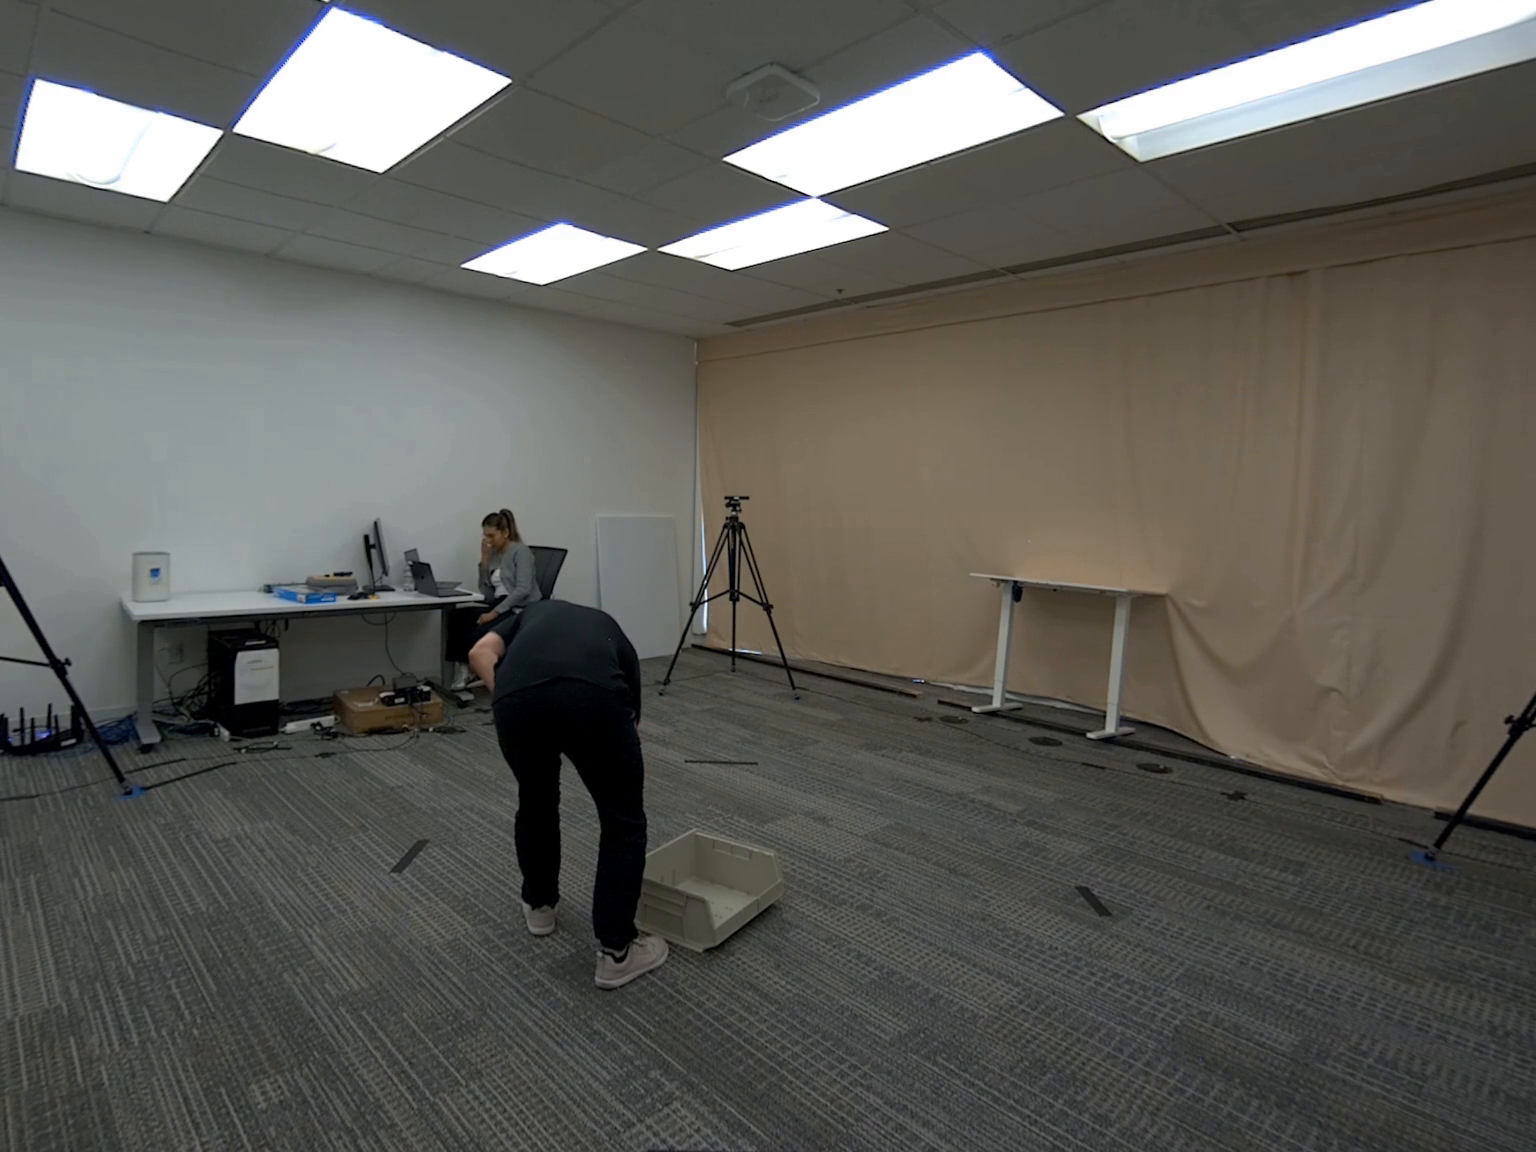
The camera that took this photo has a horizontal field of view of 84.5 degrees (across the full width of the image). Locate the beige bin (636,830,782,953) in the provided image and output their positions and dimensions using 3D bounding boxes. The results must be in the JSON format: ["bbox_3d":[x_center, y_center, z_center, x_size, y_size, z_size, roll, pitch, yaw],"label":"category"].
[{"bbox_3d":[-0.218,1.043,2.805,0.386,0.188,0.414,3,6,32],"label":"beige bin"}]
